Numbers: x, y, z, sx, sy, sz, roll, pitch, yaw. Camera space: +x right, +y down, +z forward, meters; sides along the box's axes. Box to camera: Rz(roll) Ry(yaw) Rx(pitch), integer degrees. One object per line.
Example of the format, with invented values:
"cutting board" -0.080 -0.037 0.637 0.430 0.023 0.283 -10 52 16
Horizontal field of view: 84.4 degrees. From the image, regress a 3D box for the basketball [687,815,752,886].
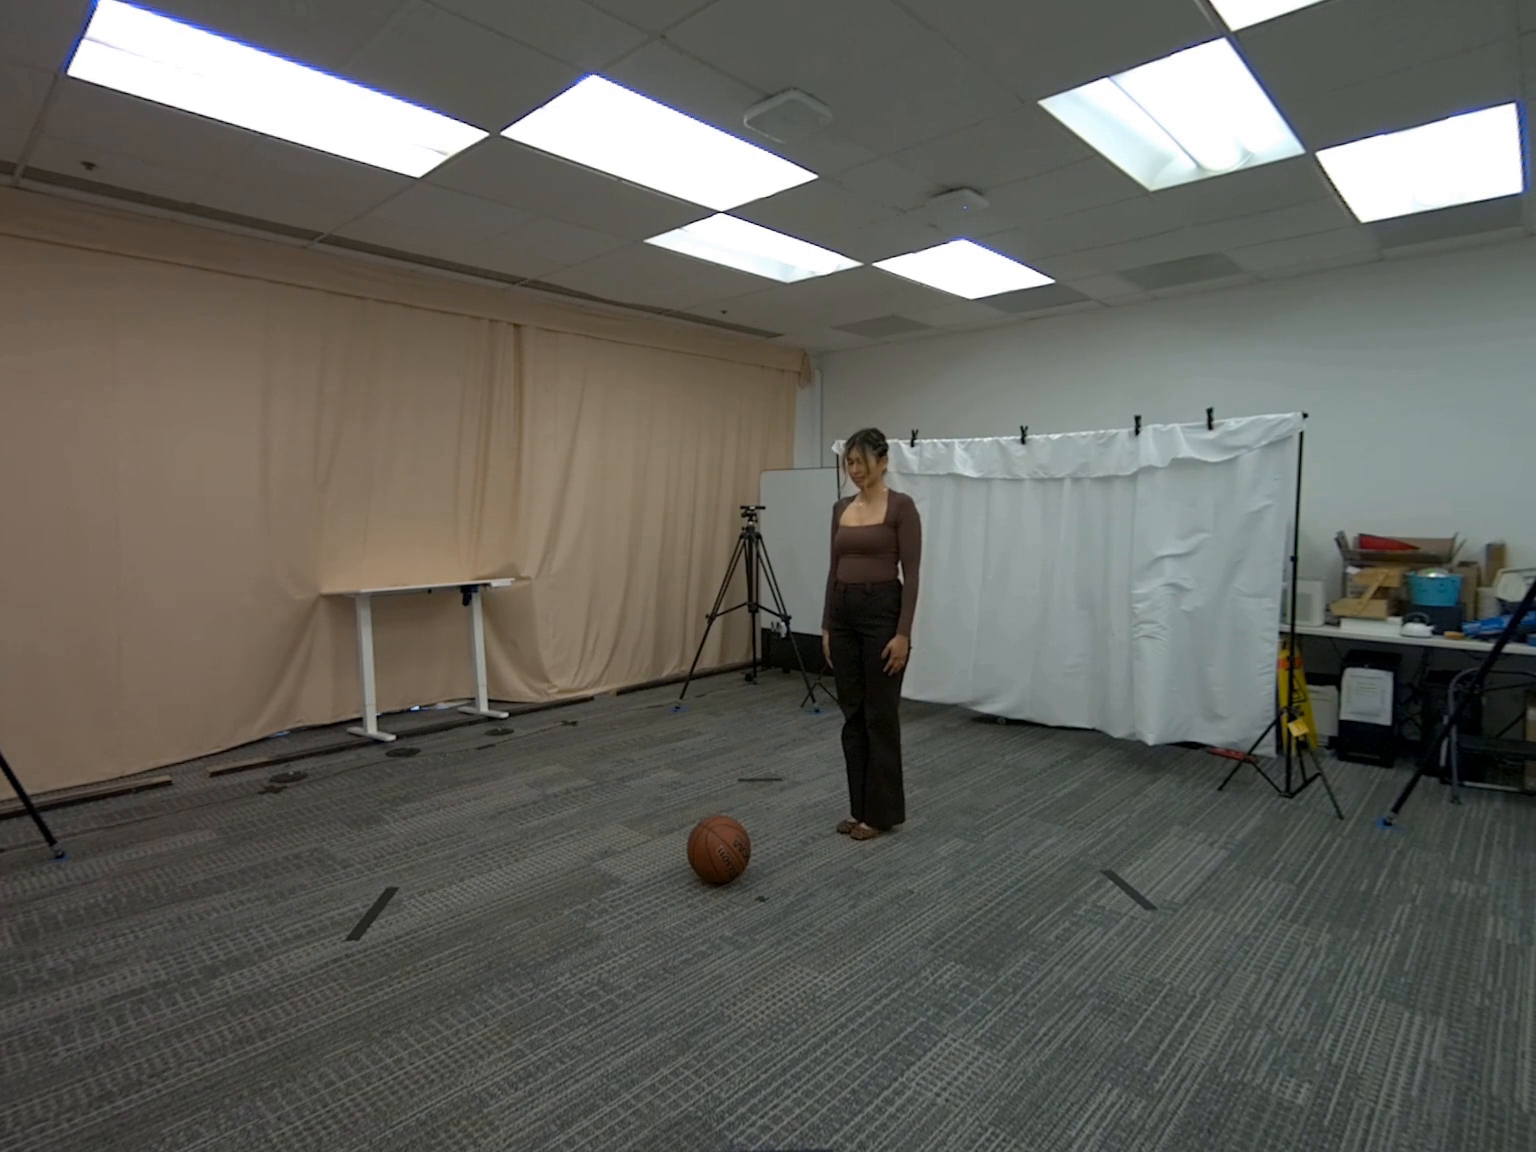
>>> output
"basketball" -0.182 1.011 3.126 0.236 0.235 0.237 0 4 -2
